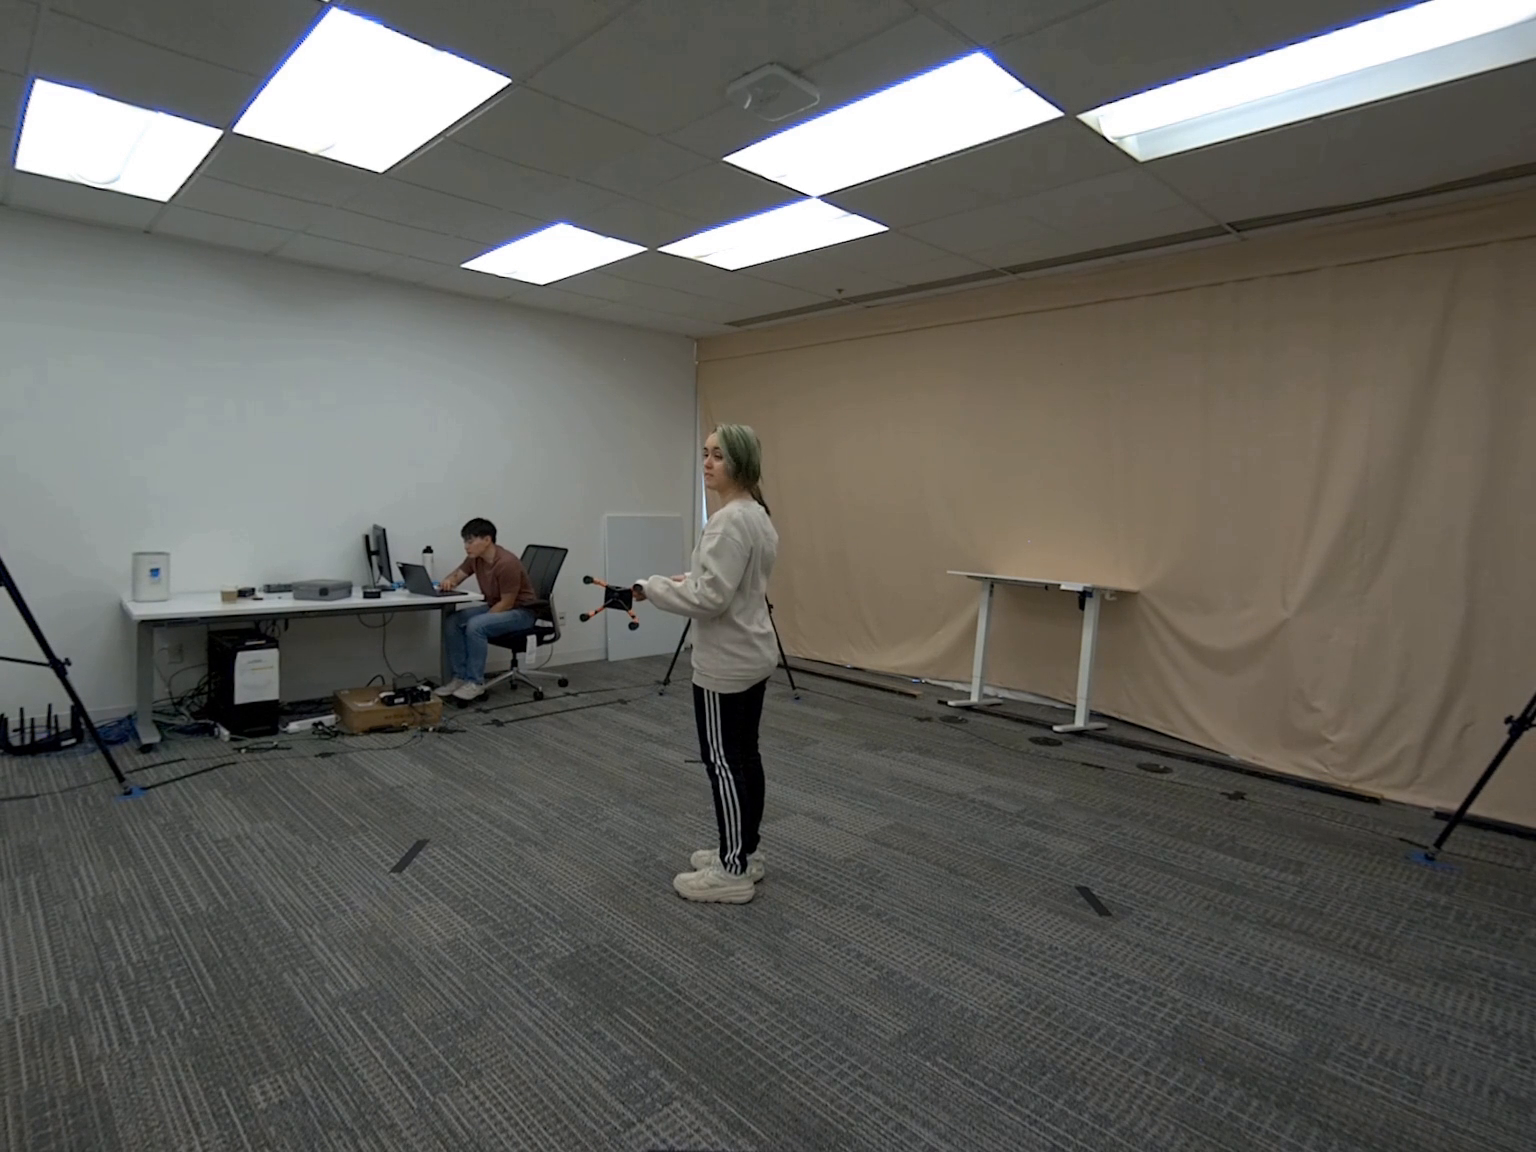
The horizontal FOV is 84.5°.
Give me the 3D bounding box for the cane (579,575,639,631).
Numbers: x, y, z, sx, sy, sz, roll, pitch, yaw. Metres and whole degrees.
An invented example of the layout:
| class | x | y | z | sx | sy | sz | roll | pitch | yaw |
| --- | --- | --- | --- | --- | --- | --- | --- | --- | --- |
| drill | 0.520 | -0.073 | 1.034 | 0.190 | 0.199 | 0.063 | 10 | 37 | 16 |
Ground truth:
| class | x | y | z | sx | sy | sz | roll | pitch | yaw |
| --- | --- | --- | --- | --- | --- | --- | --- | --- | --- |
| cane | -0.431 | 0.059 | 3.123 | 0.208 | 0.151 | 0.903 | 9 | 6 | 8 |
